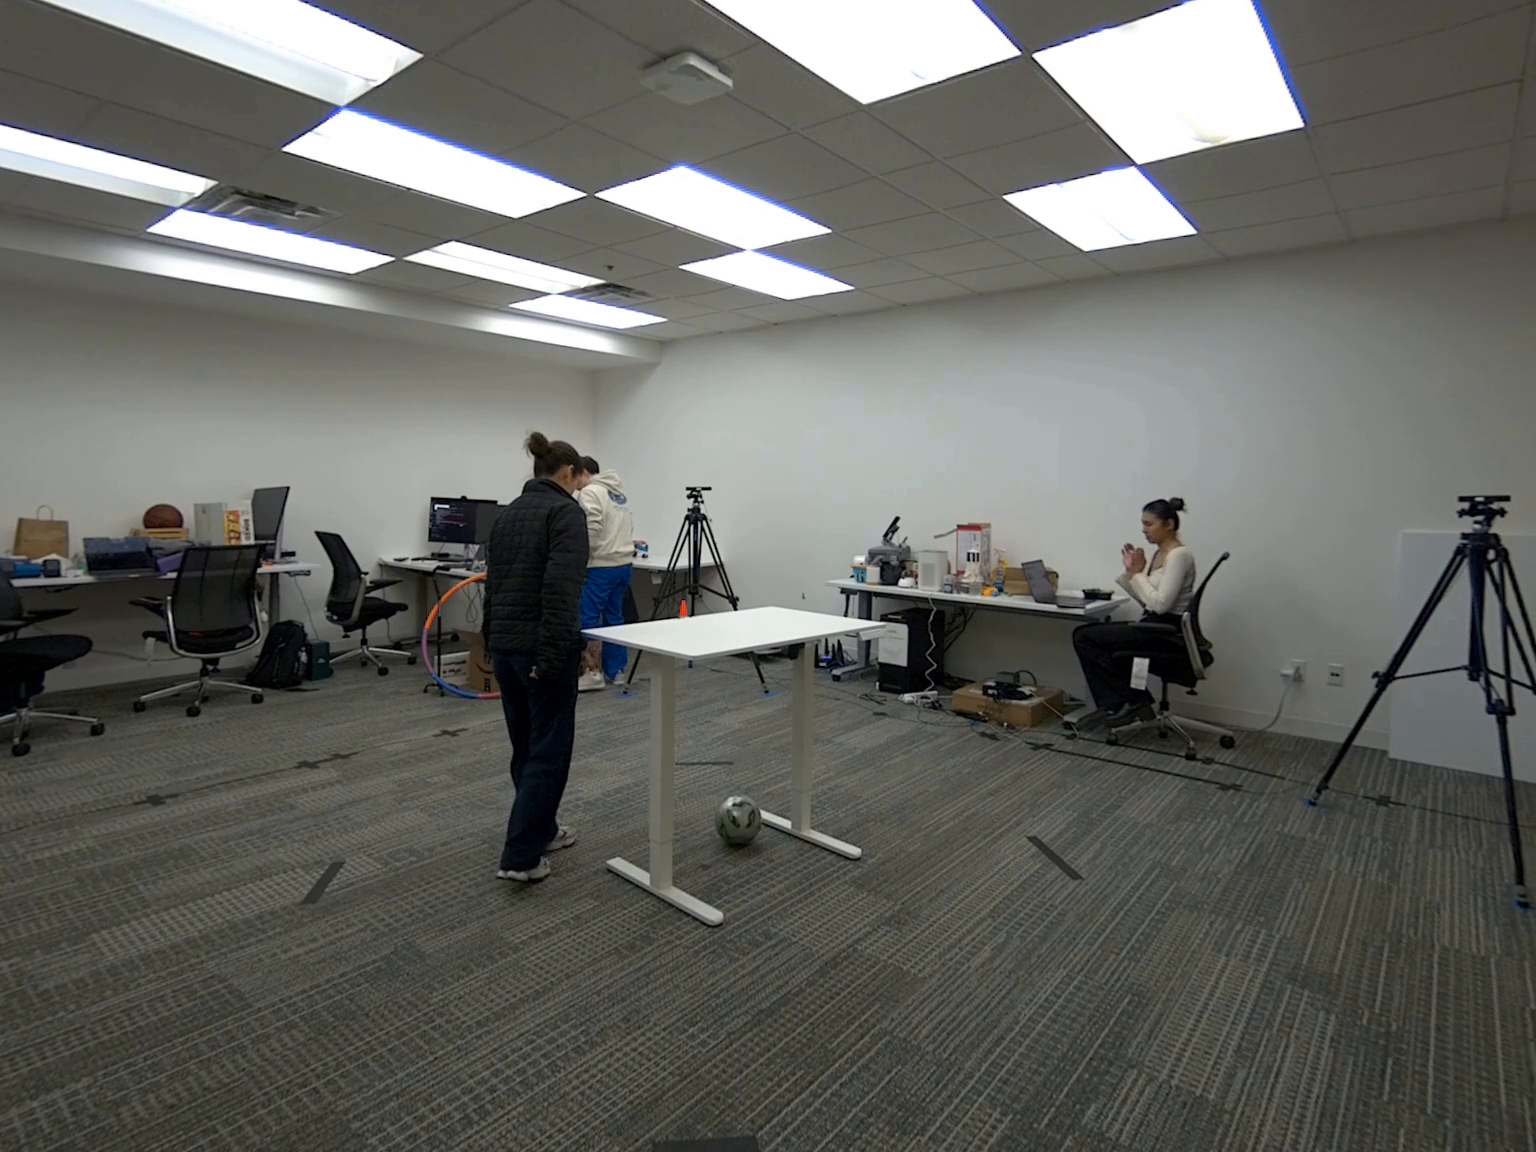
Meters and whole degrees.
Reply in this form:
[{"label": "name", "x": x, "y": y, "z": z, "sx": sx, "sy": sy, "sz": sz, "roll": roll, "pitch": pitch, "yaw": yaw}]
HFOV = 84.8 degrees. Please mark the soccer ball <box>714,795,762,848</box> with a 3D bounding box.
[{"label": "soccer ball", "x": -0.127, "y": 0.955, "z": 3.322, "sx": 0.187, "sy": 0.187, "sz": 0.188, "roll": 1, "pitch": 4, "yaw": -2}]
